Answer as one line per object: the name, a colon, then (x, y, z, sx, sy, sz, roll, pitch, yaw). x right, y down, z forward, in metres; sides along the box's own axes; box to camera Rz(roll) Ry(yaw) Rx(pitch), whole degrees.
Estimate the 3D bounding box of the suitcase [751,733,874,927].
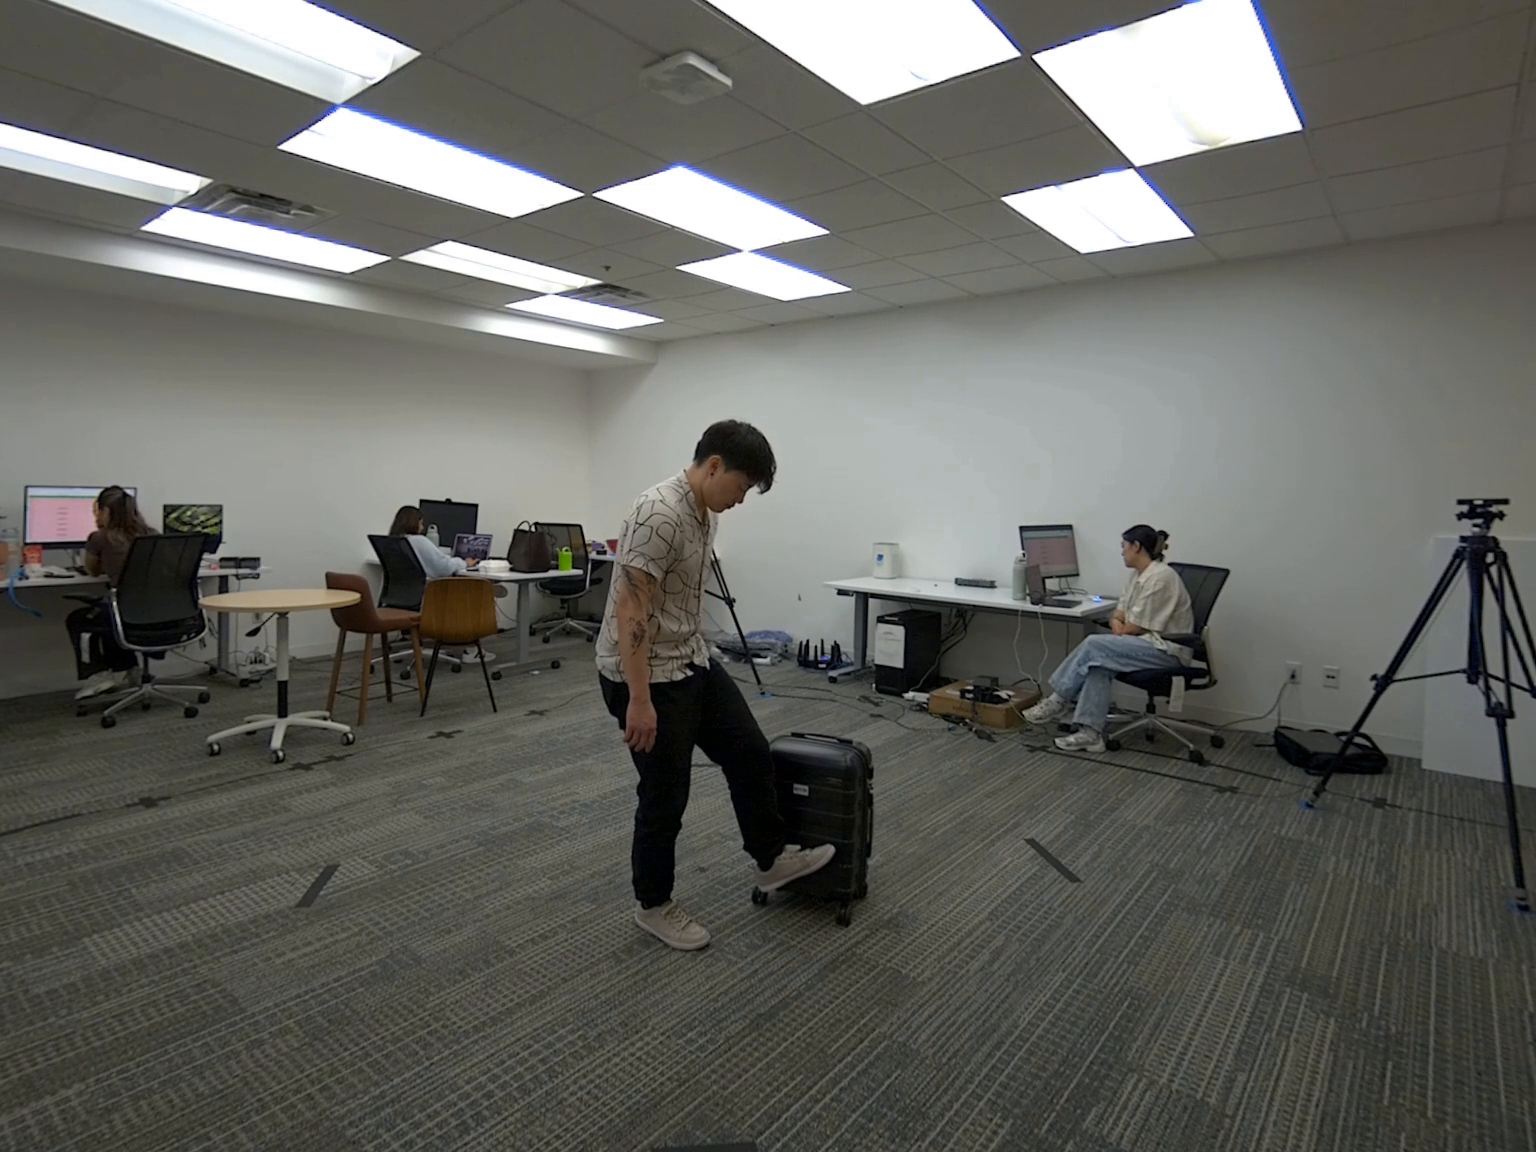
suitcase: (0.156, 0.817, 2.901, 0.384, 0.548, 0.243, 3, 3, 22)
